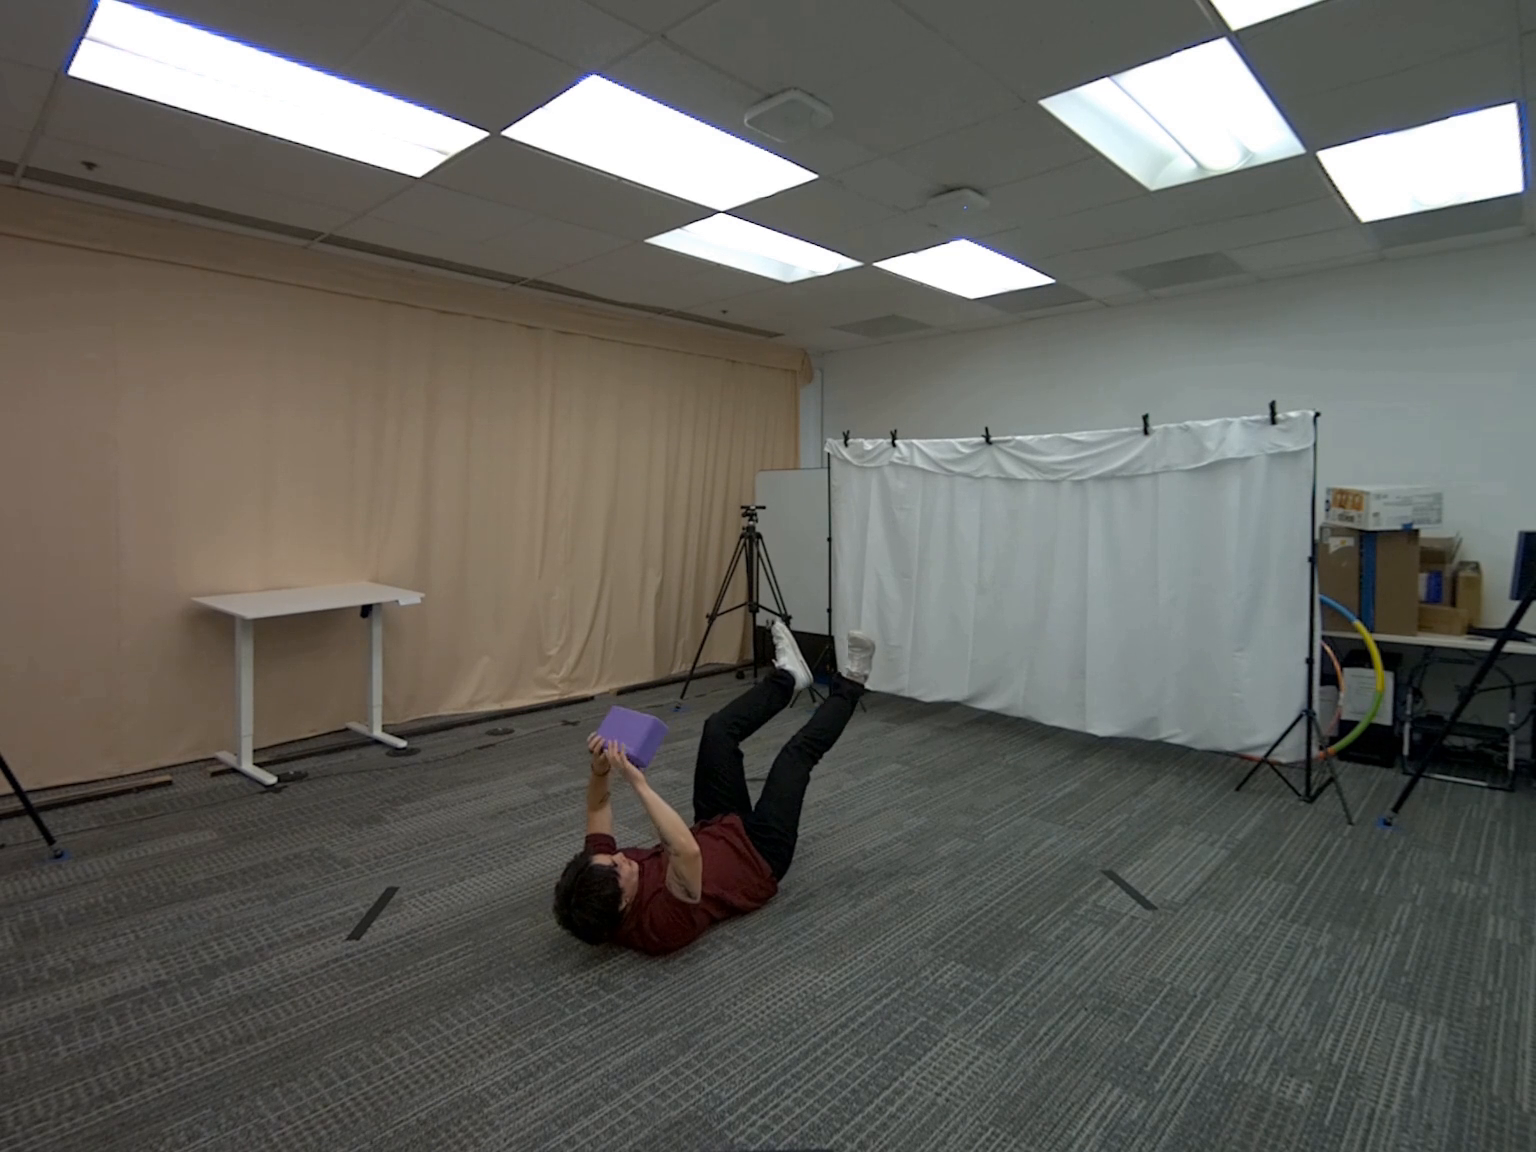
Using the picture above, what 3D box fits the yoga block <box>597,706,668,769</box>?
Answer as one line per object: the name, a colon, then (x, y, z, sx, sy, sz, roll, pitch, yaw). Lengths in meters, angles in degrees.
yoga block: (-0.432, 0.497, 2.698, 0.237, 0.149, 0.074, 2, -37, 42)
